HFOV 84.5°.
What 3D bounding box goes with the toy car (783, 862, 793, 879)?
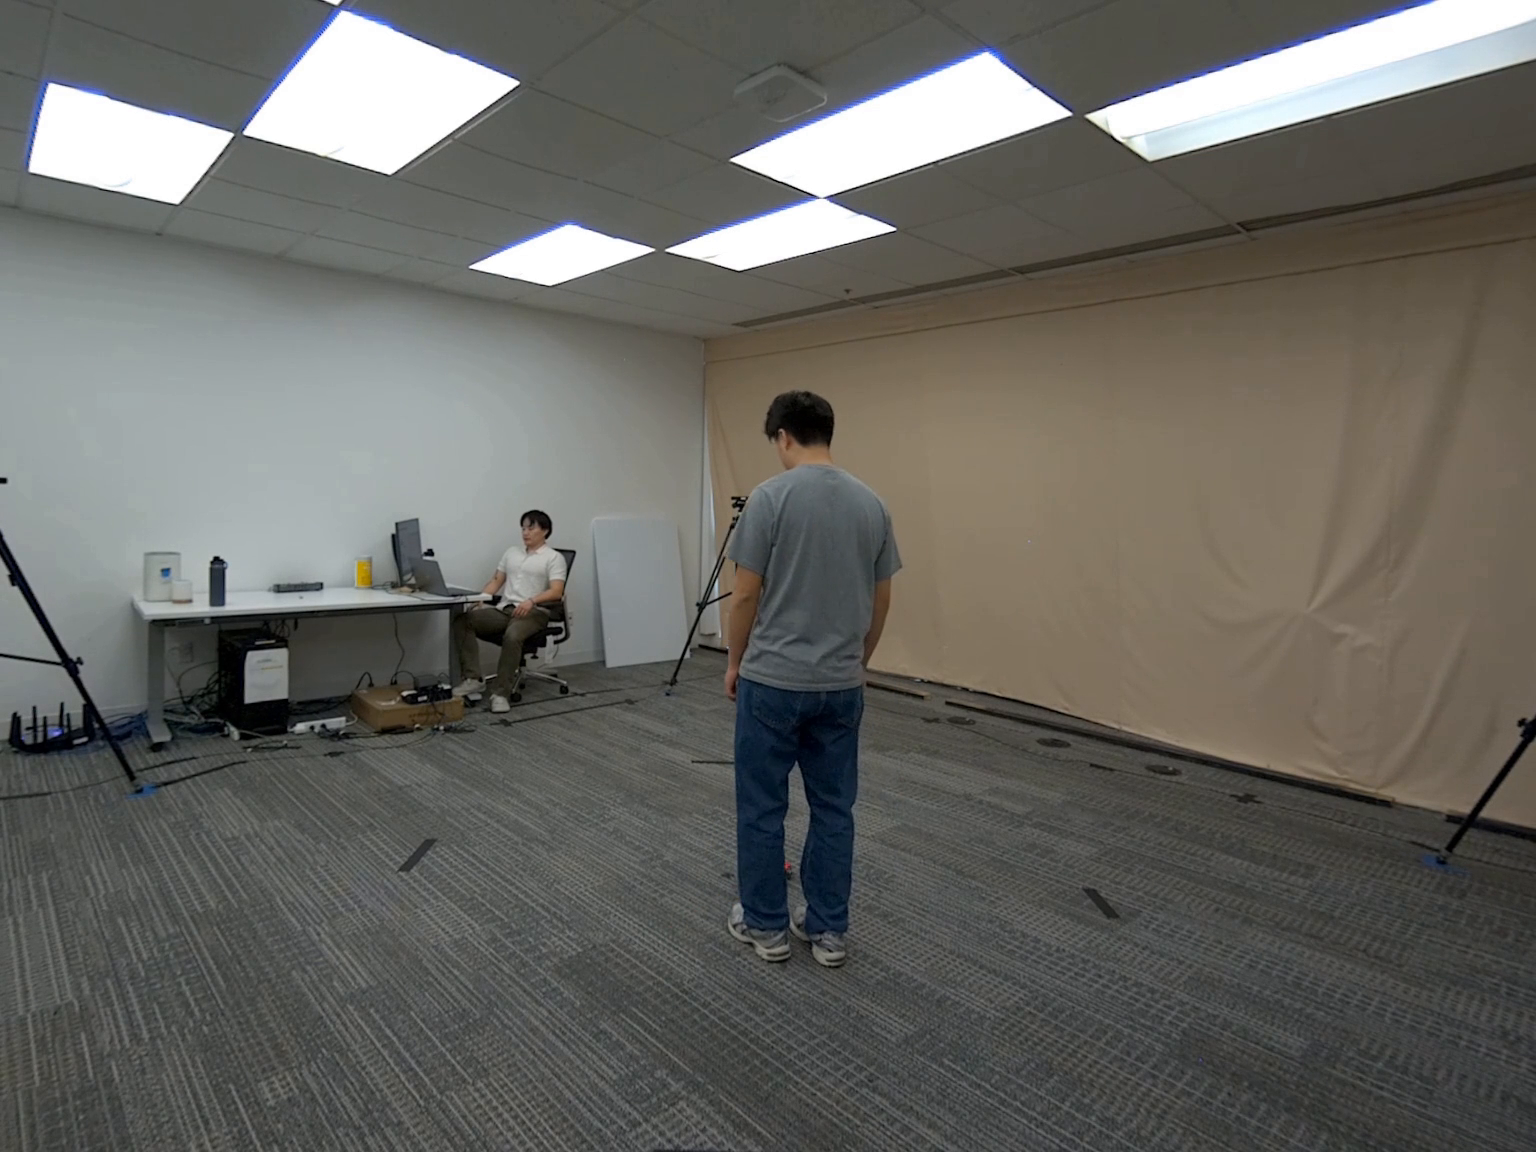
[{"bbox_3d":[-0.020,1.084,3.032,0.133,0.083,0.248,5,-5,30],"label":"toy car"}]
